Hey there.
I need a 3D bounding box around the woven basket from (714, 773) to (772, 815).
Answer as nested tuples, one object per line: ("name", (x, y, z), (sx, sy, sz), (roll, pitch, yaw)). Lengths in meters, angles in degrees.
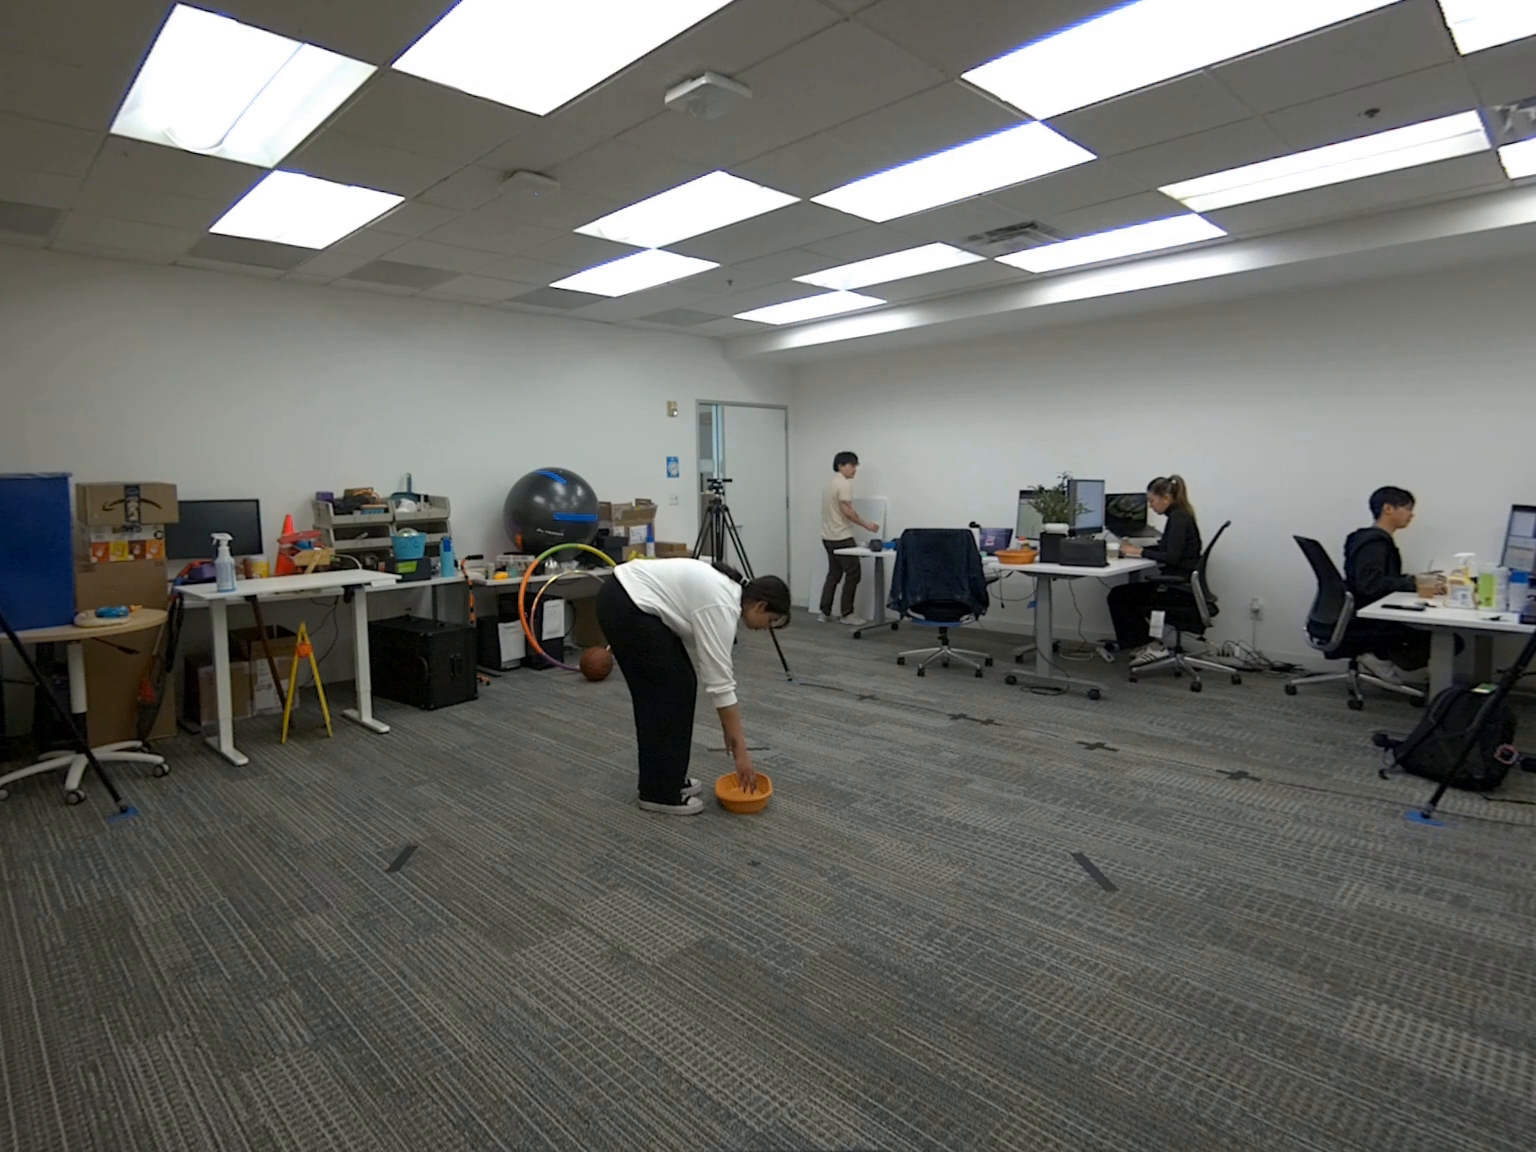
("woven basket", (-0.105, 0.929, 3.708), (0.253, 0.073, 0.351), (-3, 7, 1))
